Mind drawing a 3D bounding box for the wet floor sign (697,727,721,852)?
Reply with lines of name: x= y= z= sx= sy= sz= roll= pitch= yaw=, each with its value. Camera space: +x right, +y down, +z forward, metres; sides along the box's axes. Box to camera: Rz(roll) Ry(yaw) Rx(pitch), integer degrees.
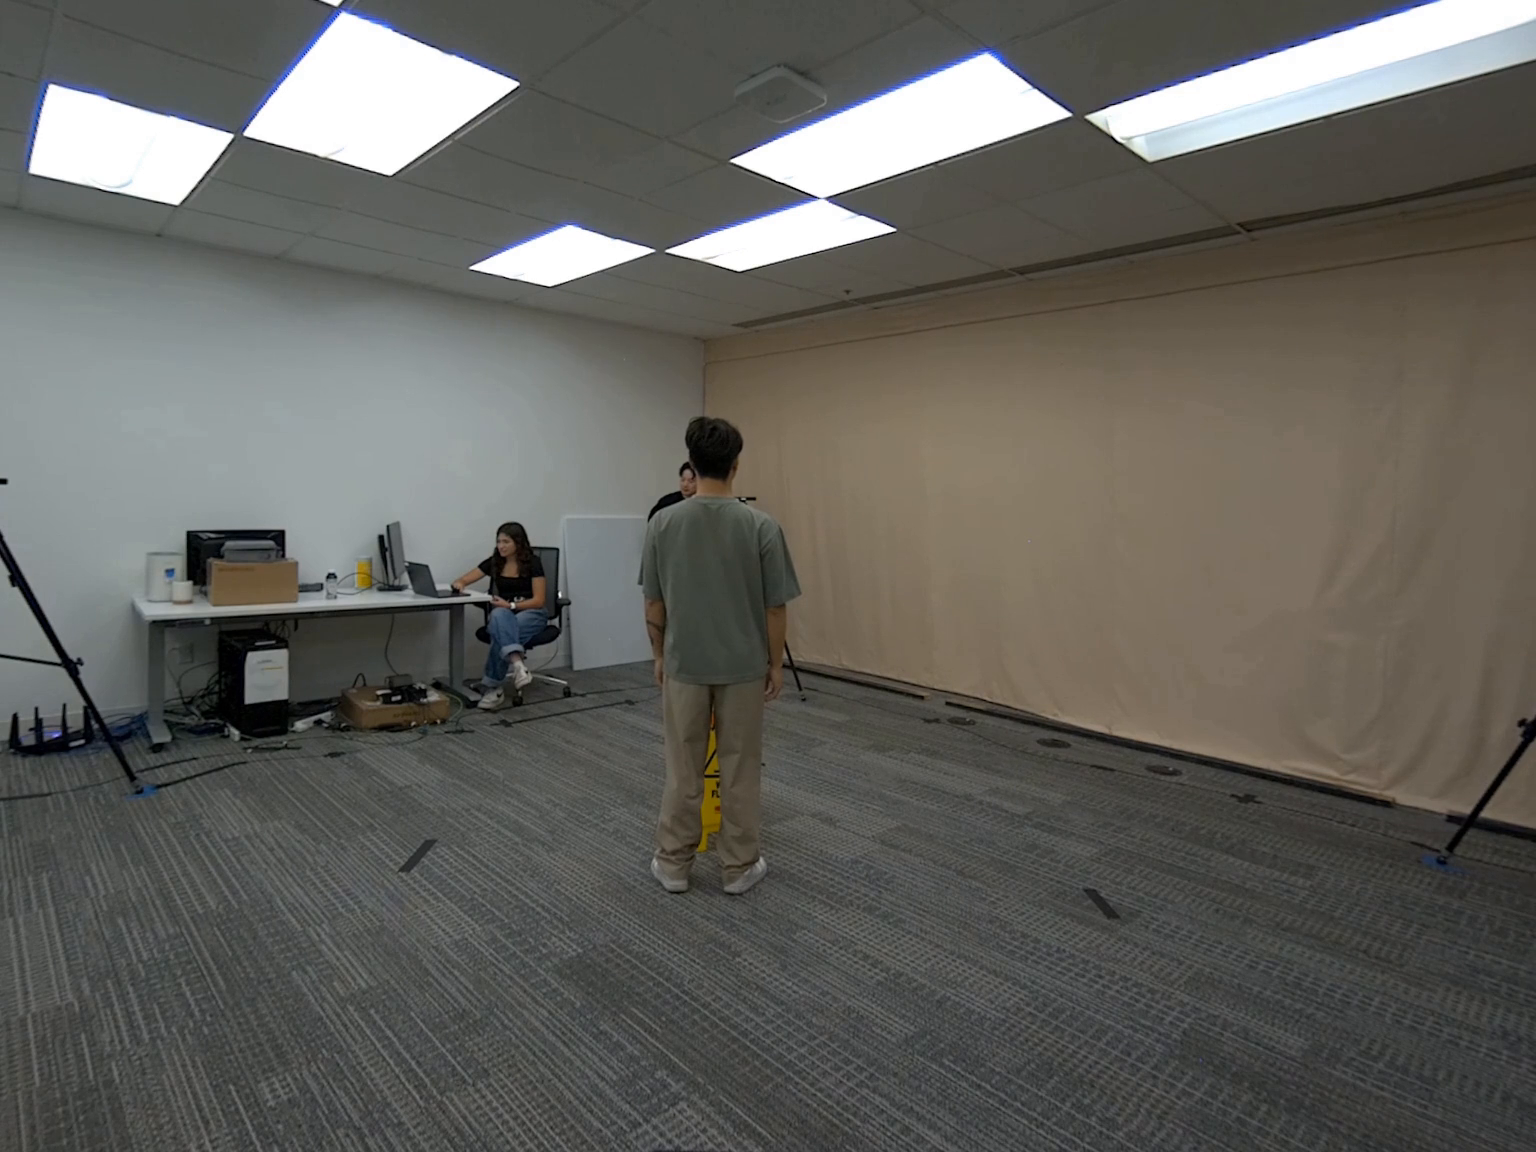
wet floor sign: x=-0.183 y=0.757 z=3.426 sx=0.281 sy=0.645 sz=0.291 roll=3 pitch=2 yaw=-6
